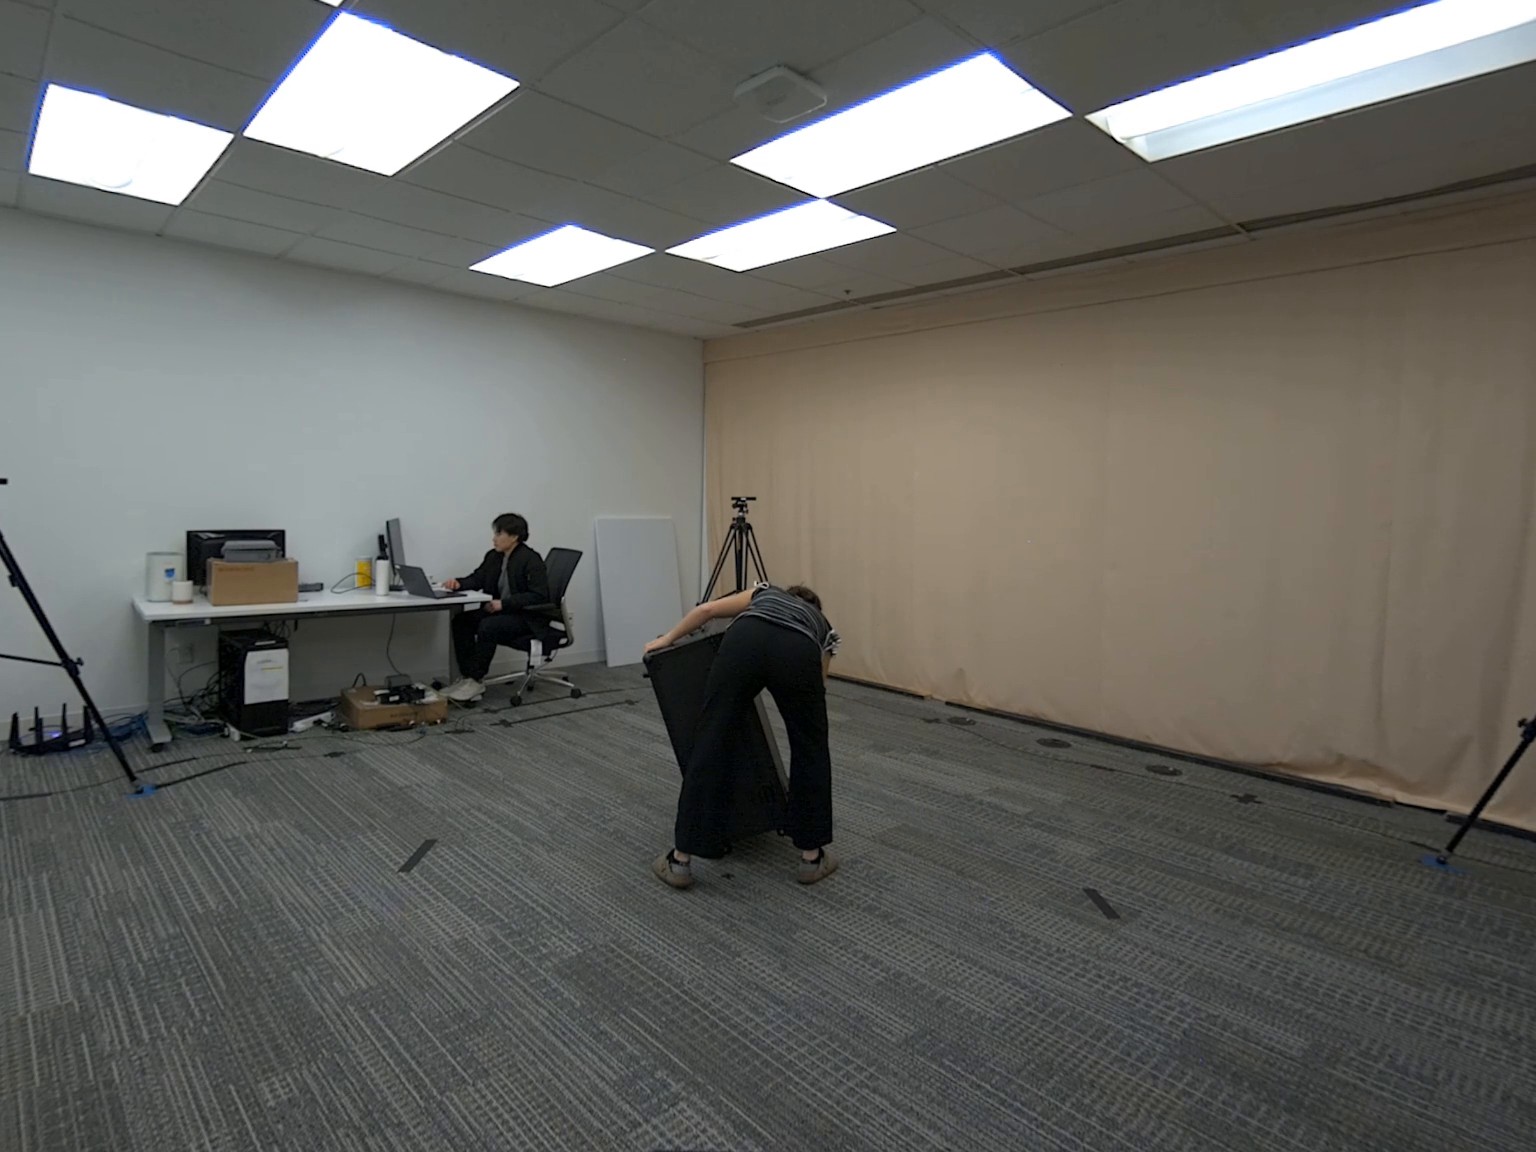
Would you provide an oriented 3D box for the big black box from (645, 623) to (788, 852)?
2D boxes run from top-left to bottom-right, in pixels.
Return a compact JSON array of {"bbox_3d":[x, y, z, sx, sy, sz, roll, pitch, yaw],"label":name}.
[{"bbox_3d":[-0.199,0.635,3.427,0.396,0.860,0.522,-18,3,1],"label":"big black box"}]
